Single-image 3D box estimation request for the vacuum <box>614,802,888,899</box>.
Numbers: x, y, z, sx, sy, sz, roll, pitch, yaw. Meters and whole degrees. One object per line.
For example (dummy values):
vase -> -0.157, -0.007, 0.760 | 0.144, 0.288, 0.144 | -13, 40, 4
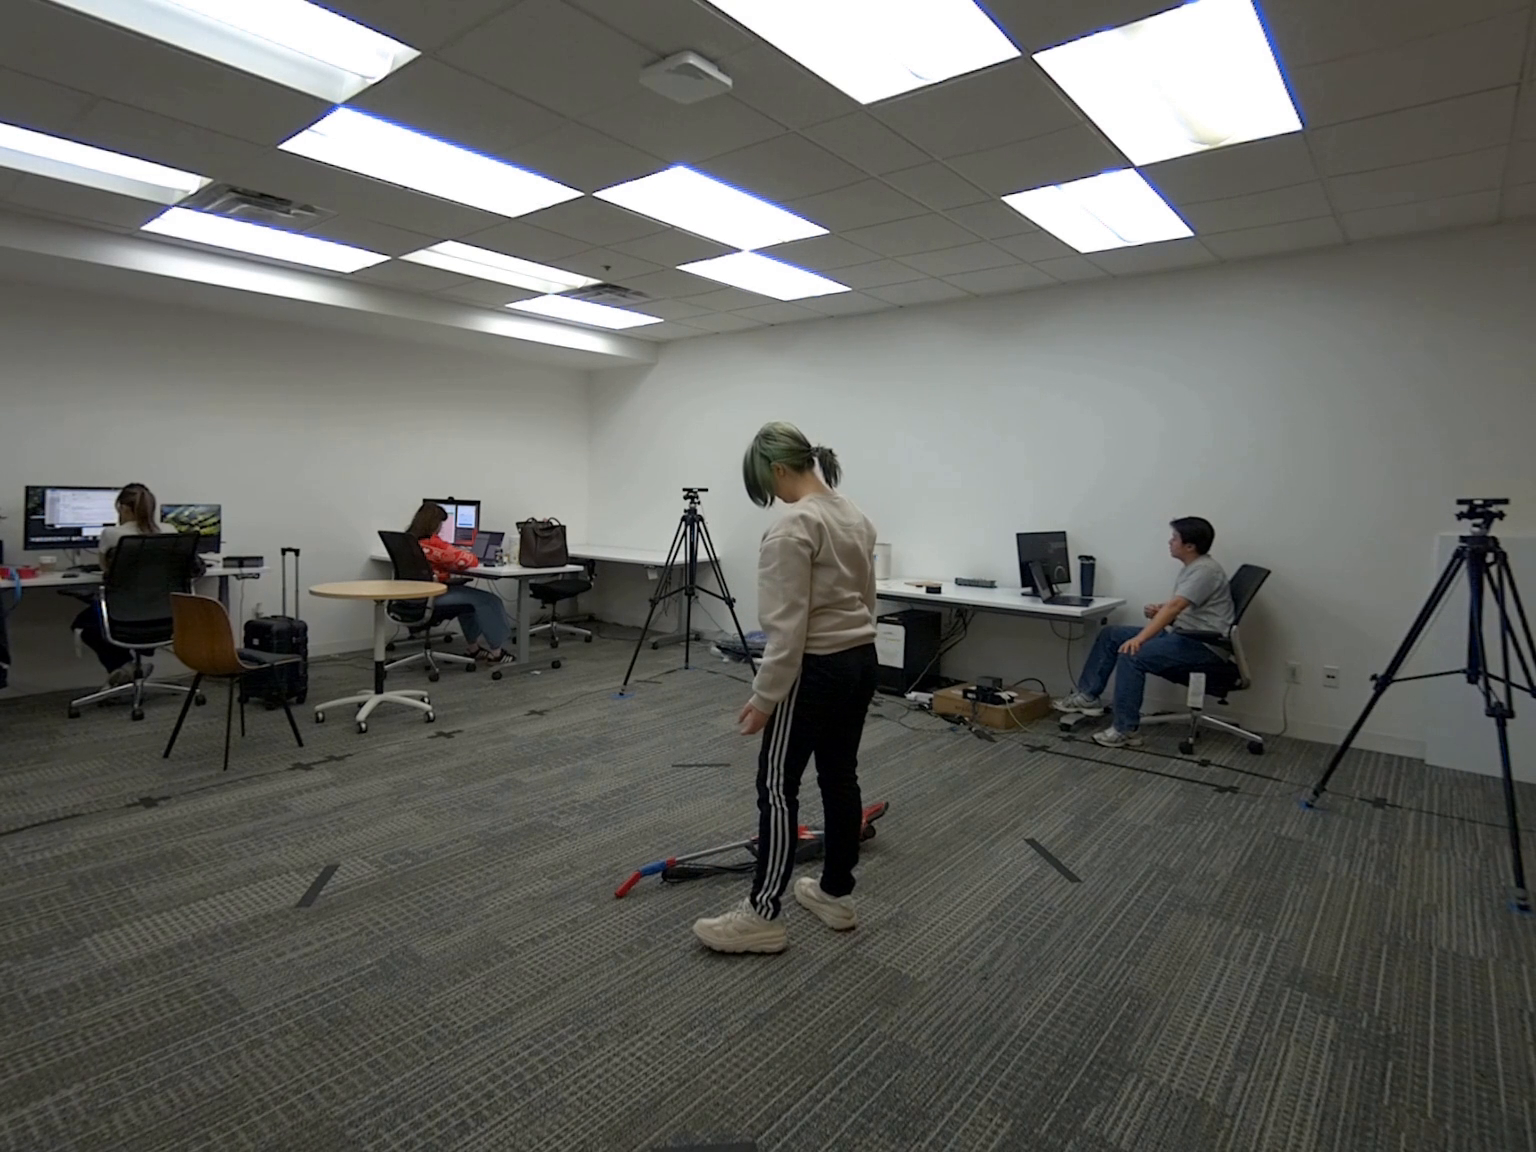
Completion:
vacuum -> -0.062, 1.025, 3.119 | 1.025, 0.147, 0.252 | -7, -22, -27
